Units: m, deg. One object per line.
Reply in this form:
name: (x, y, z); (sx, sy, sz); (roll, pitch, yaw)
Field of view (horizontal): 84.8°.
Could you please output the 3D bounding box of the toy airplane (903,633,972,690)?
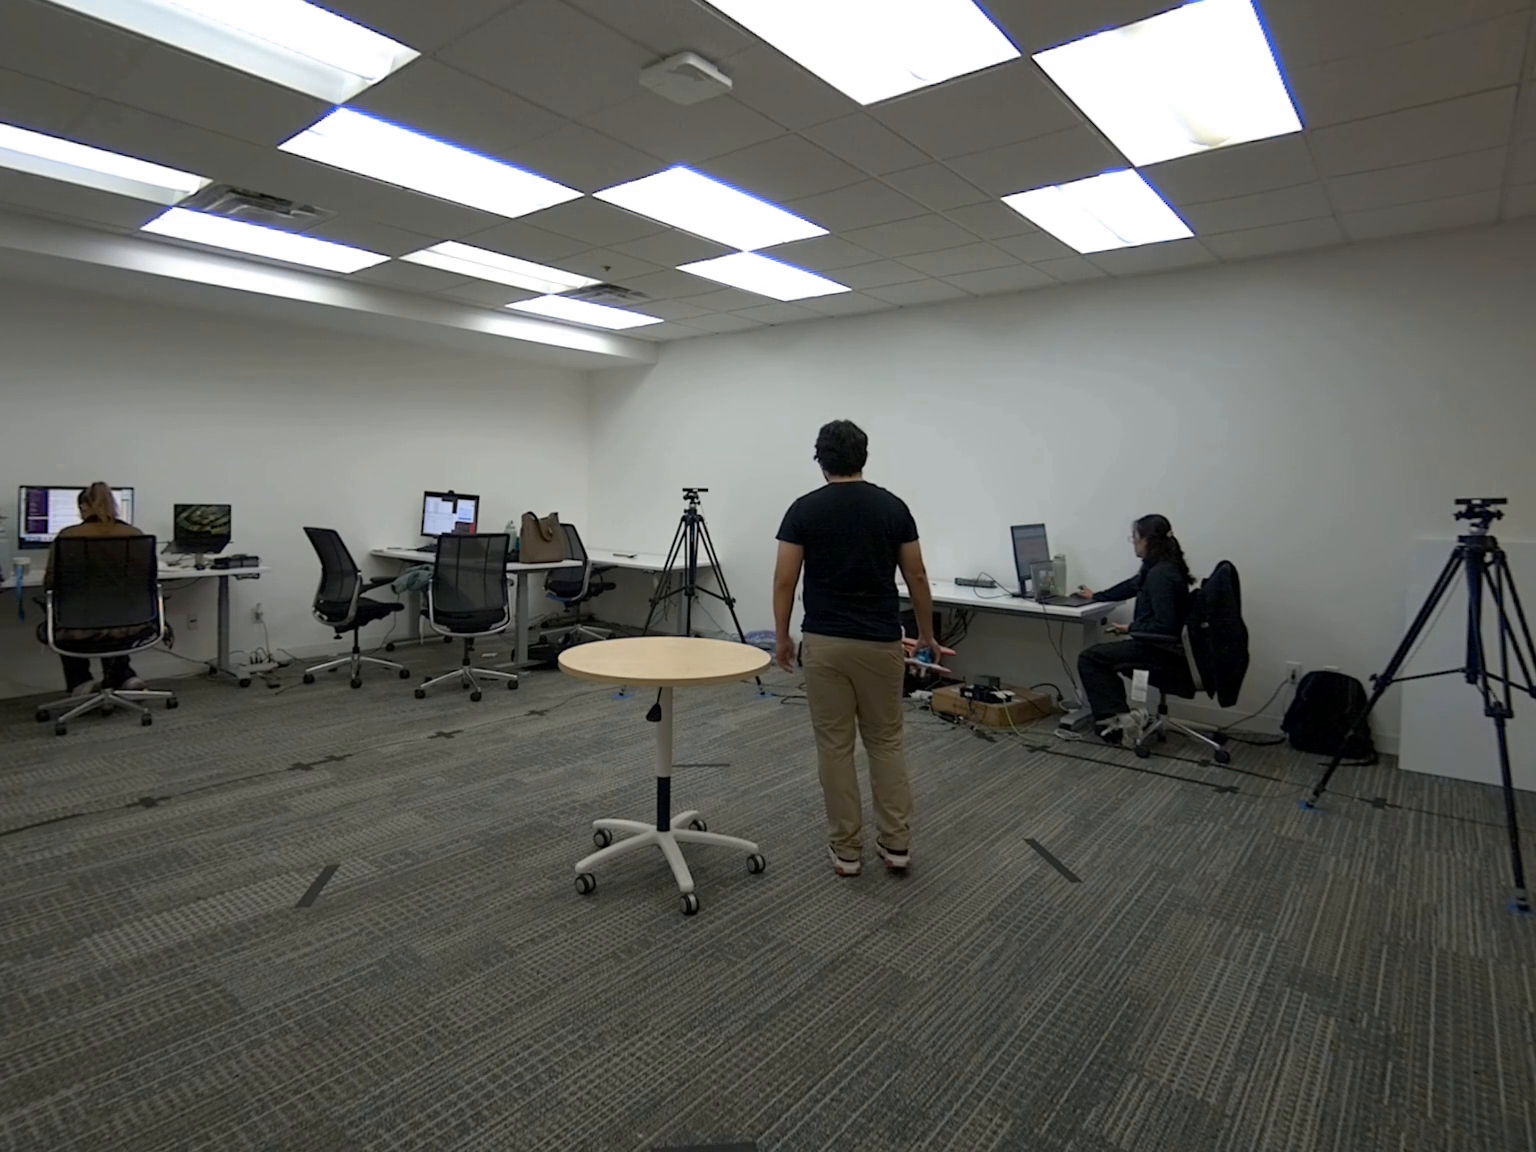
toy airplane: (0.611, 0.335, 3.363); (0.244, 0.157, 0.264); (17, -9, -22)
